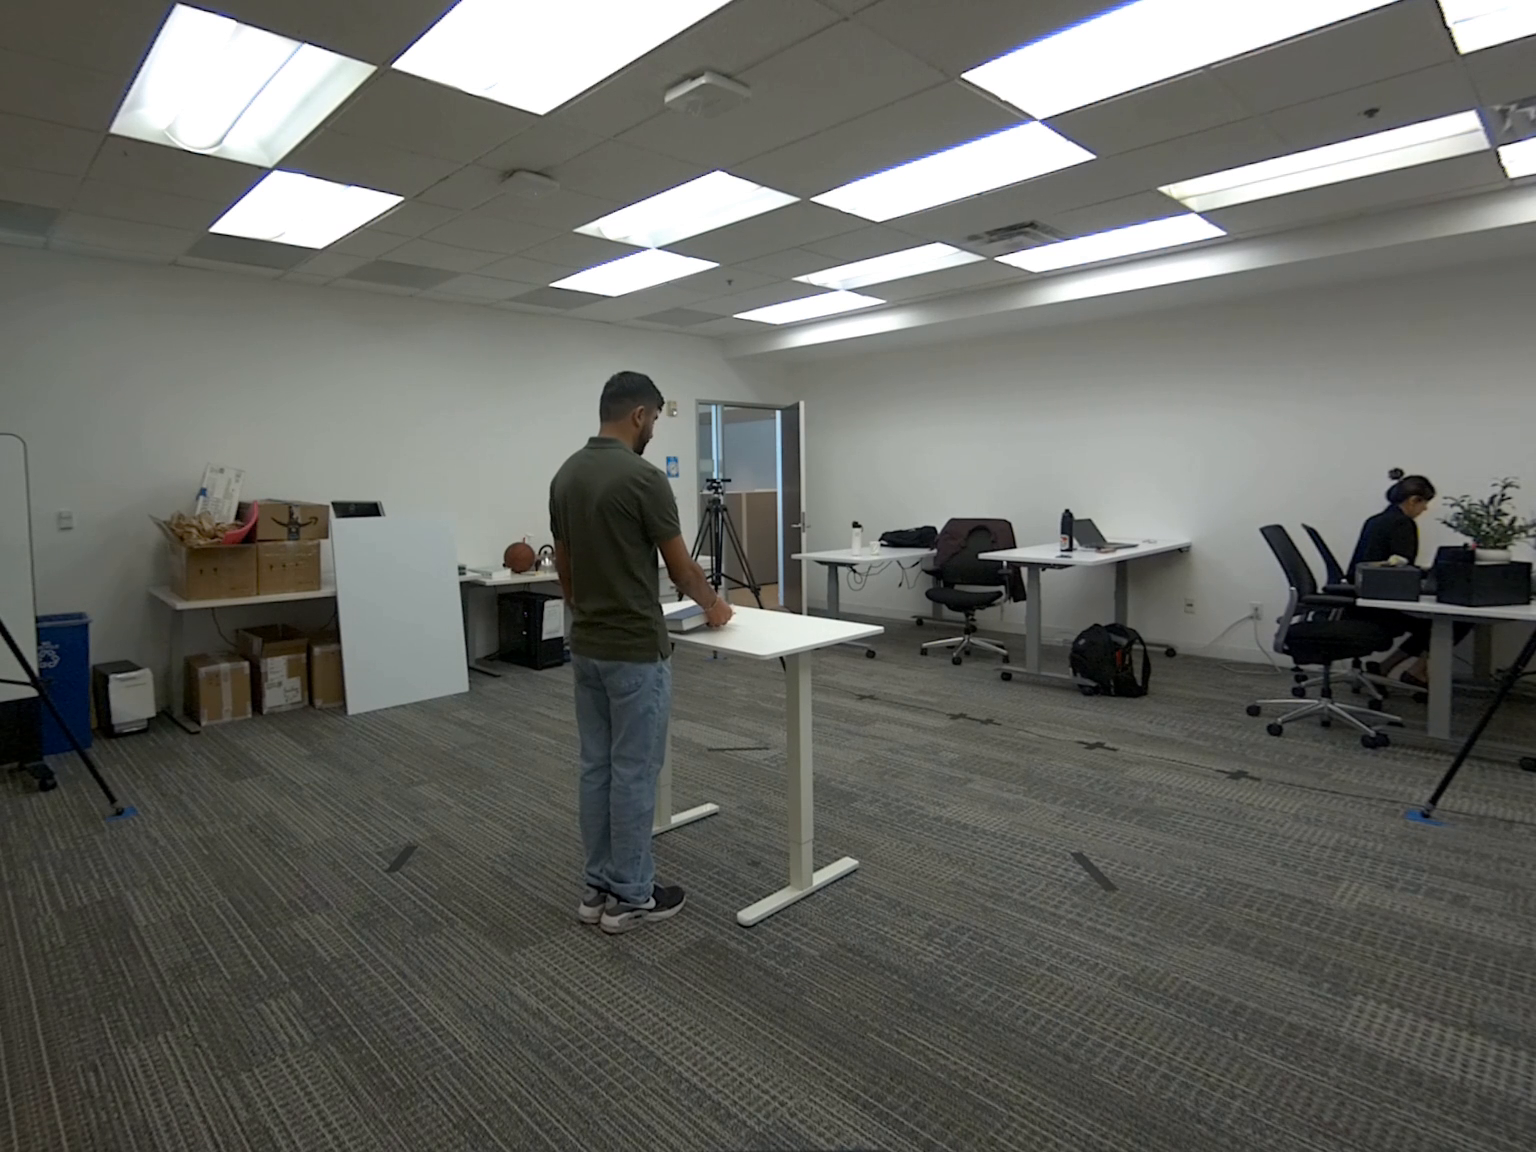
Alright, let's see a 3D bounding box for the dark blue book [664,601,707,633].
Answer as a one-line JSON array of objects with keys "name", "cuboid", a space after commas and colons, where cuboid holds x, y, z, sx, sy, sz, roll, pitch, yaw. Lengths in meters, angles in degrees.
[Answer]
[{"name": "dark blue book", "cuboid": [-0.267, 0.139, 2.973, 0.168, 0.045, 0.240, 1, 13, 44]}]
